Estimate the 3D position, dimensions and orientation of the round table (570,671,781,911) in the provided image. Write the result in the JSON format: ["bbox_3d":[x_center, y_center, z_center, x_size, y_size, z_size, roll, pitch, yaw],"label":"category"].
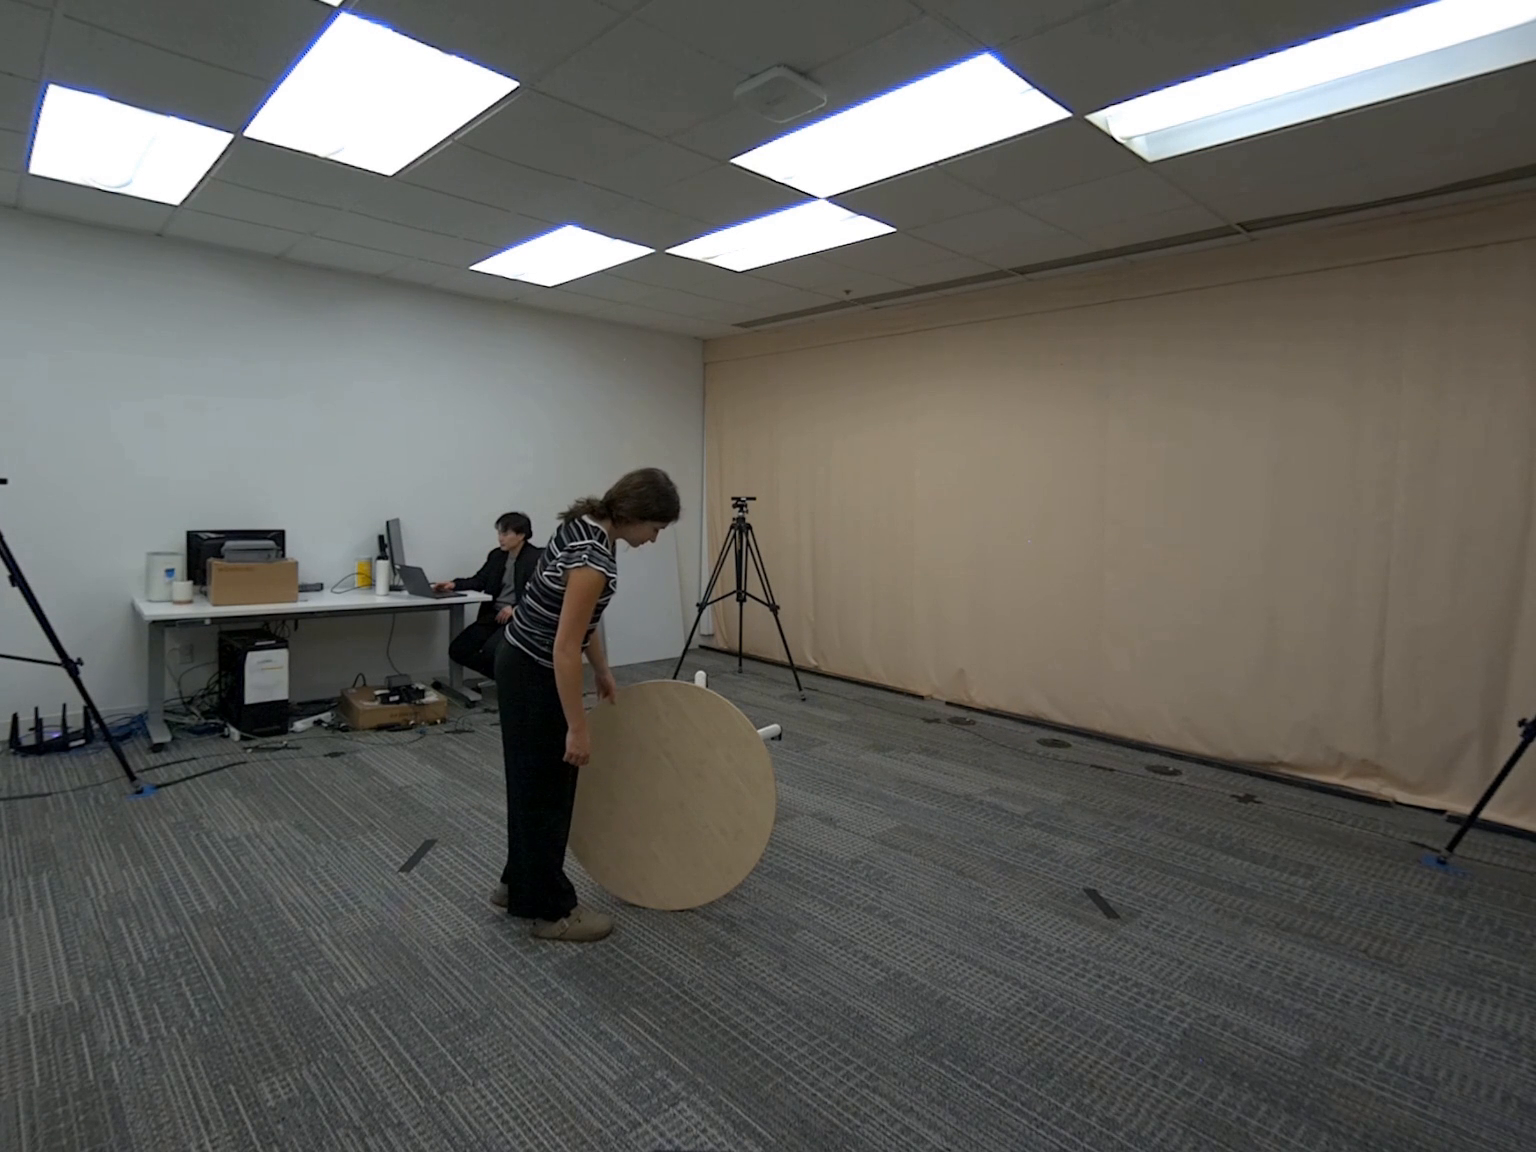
[{"bbox_3d":[-0.321,0.752,3.257,0.791,0.787,0.779,2,-2,8],"label":"round table"}]
